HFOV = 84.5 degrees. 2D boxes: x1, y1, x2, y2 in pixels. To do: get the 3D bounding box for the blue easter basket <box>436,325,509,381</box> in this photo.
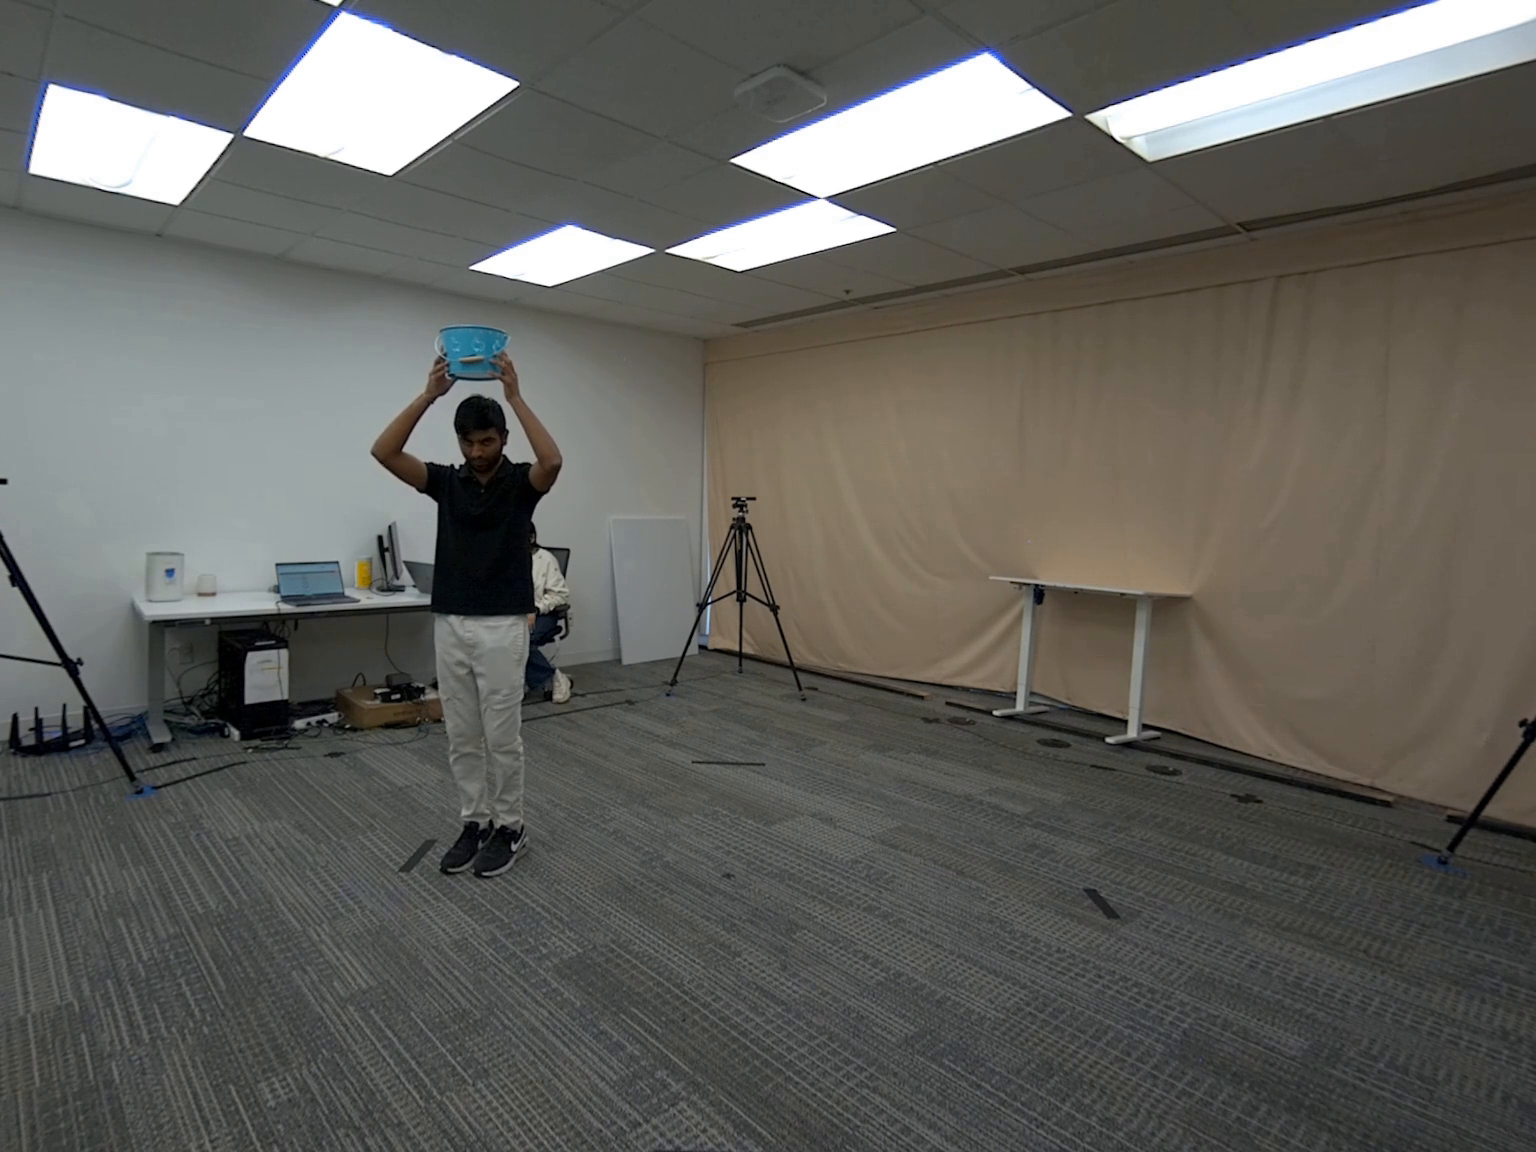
[{"bbox_3d":[-1.046,-0.773,2.932,0.243,0.155,0.244,-2,5,-1],"label":"blue easter basket"}]
